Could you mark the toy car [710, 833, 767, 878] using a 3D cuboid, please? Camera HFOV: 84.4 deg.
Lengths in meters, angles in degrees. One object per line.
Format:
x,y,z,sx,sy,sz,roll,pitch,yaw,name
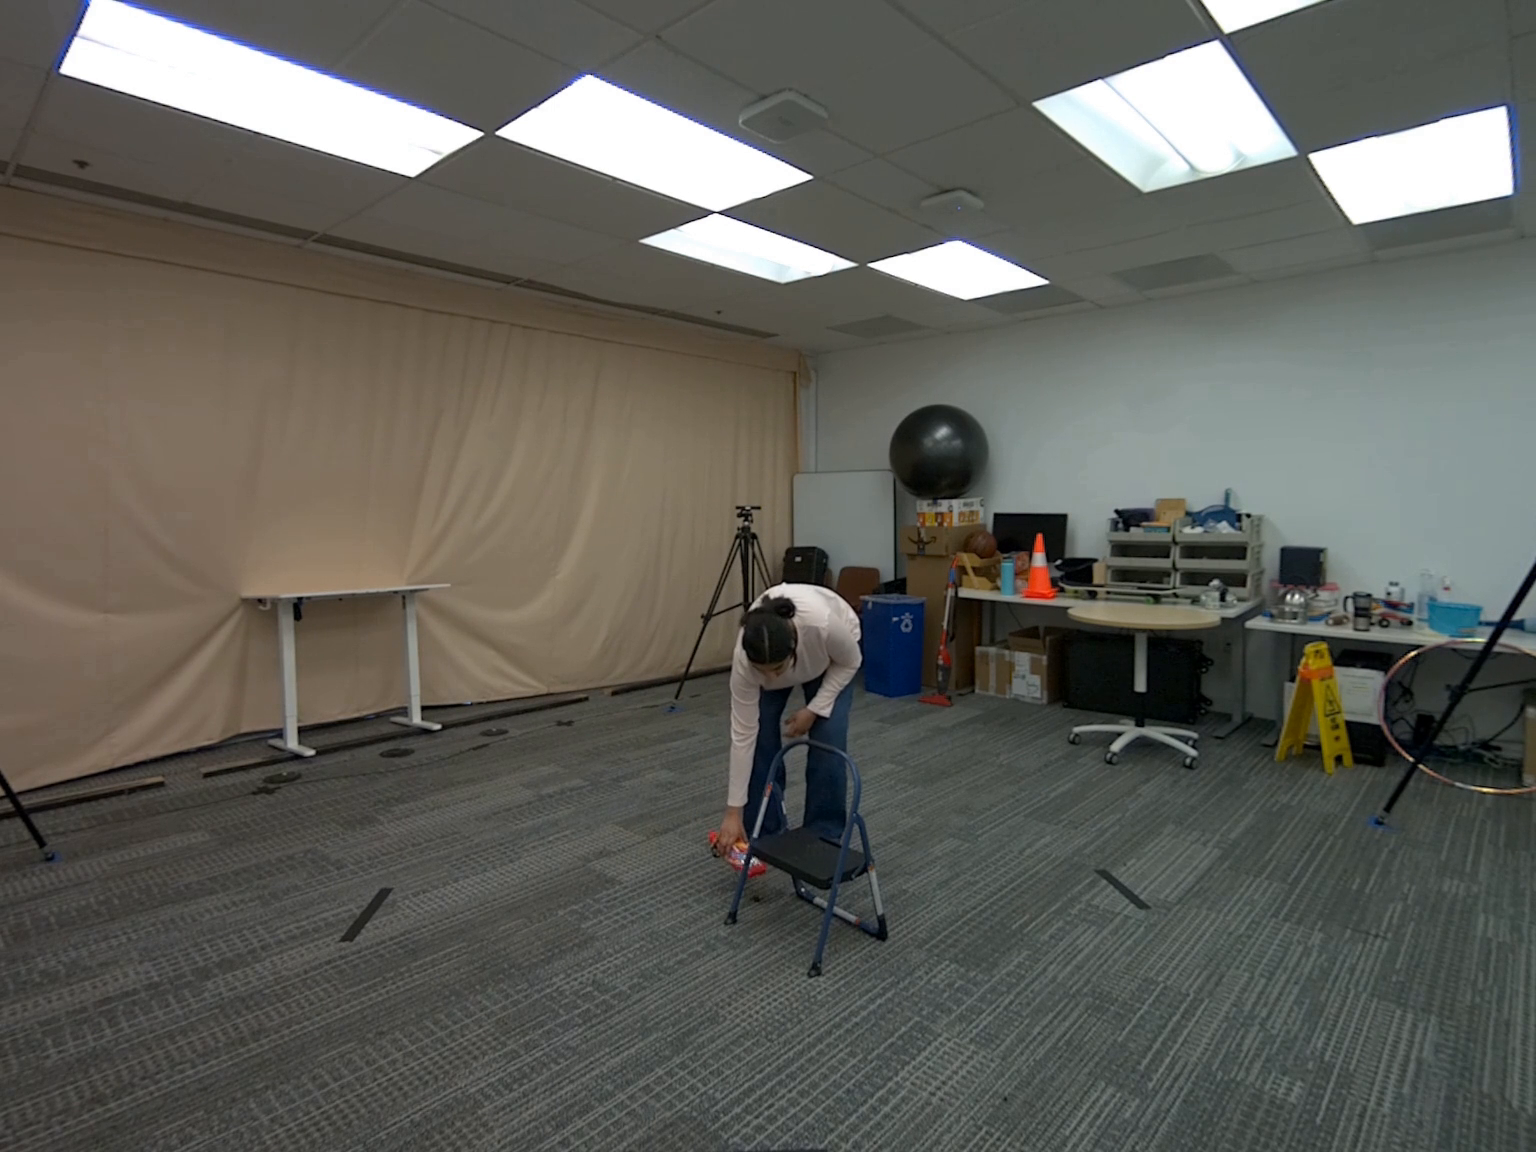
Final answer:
-0.110,1.012,3.056,0.126,0.083,0.264,-1,28,-37,toy car
